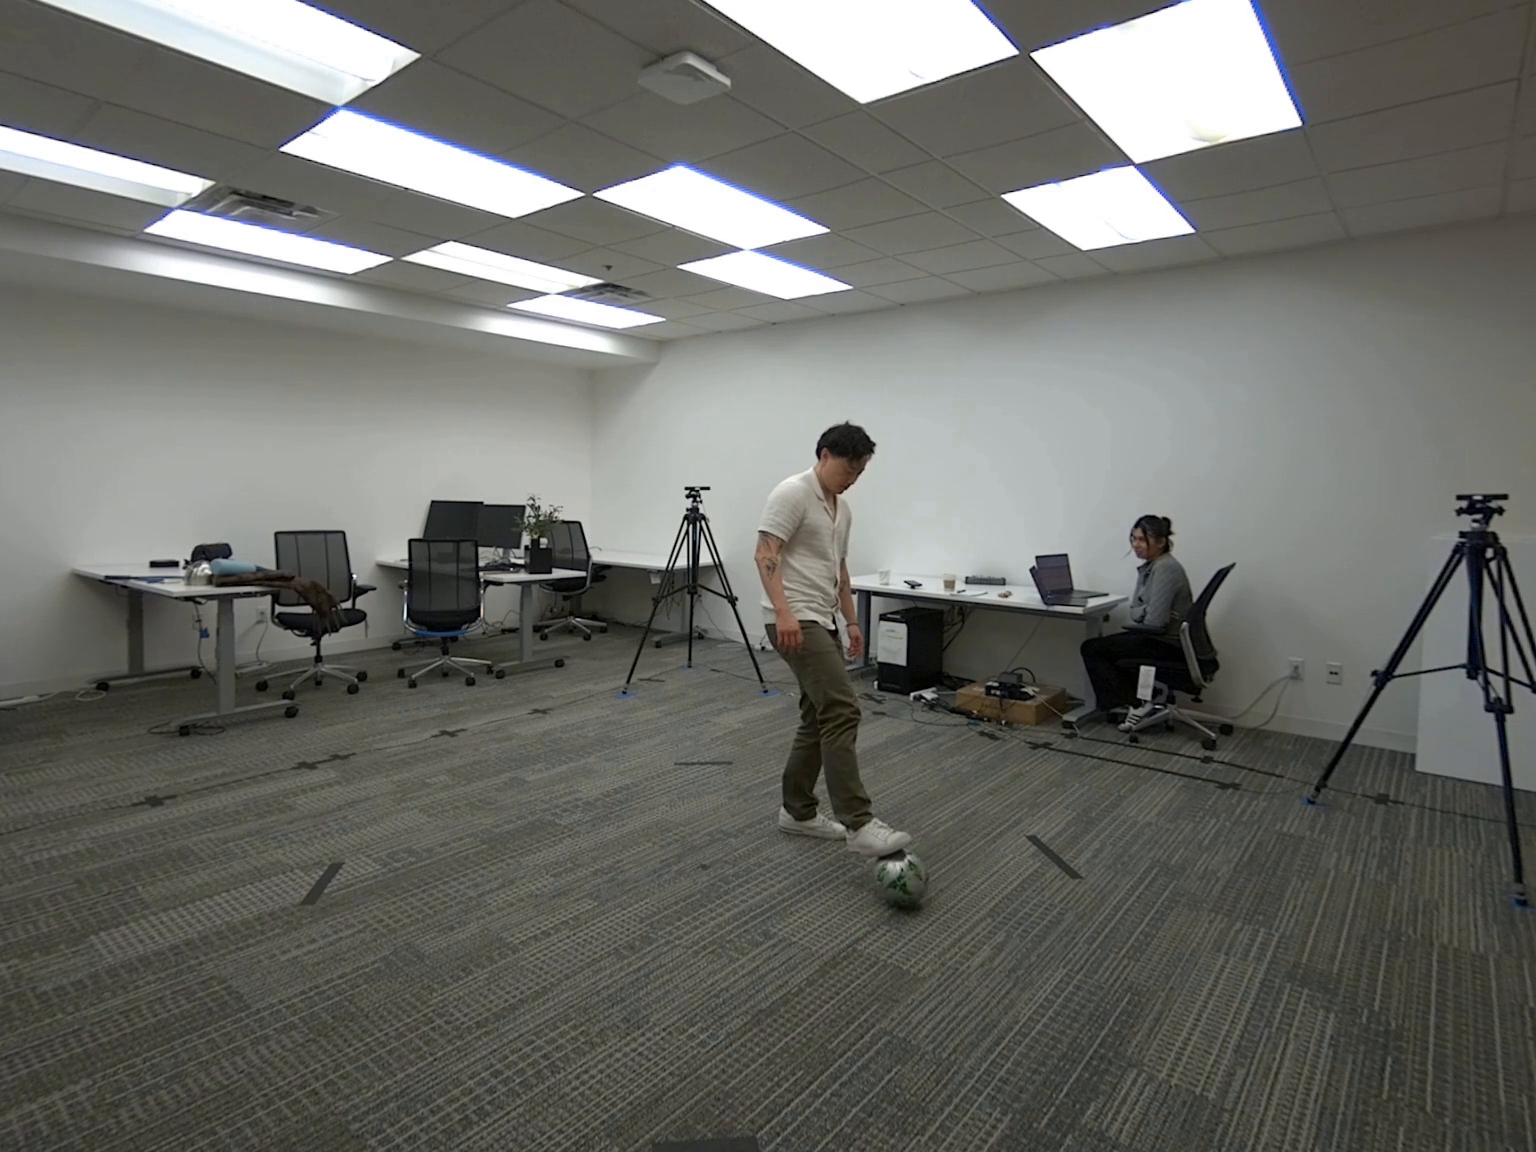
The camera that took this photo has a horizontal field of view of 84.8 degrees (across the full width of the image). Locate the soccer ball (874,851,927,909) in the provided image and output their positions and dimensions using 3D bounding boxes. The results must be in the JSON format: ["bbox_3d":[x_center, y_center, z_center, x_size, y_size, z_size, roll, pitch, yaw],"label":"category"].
[{"bbox_3d":[0.439,1.013,2.866,0.187,0.187,0.188,1,4,-2],"label":"soccer ball"}]
